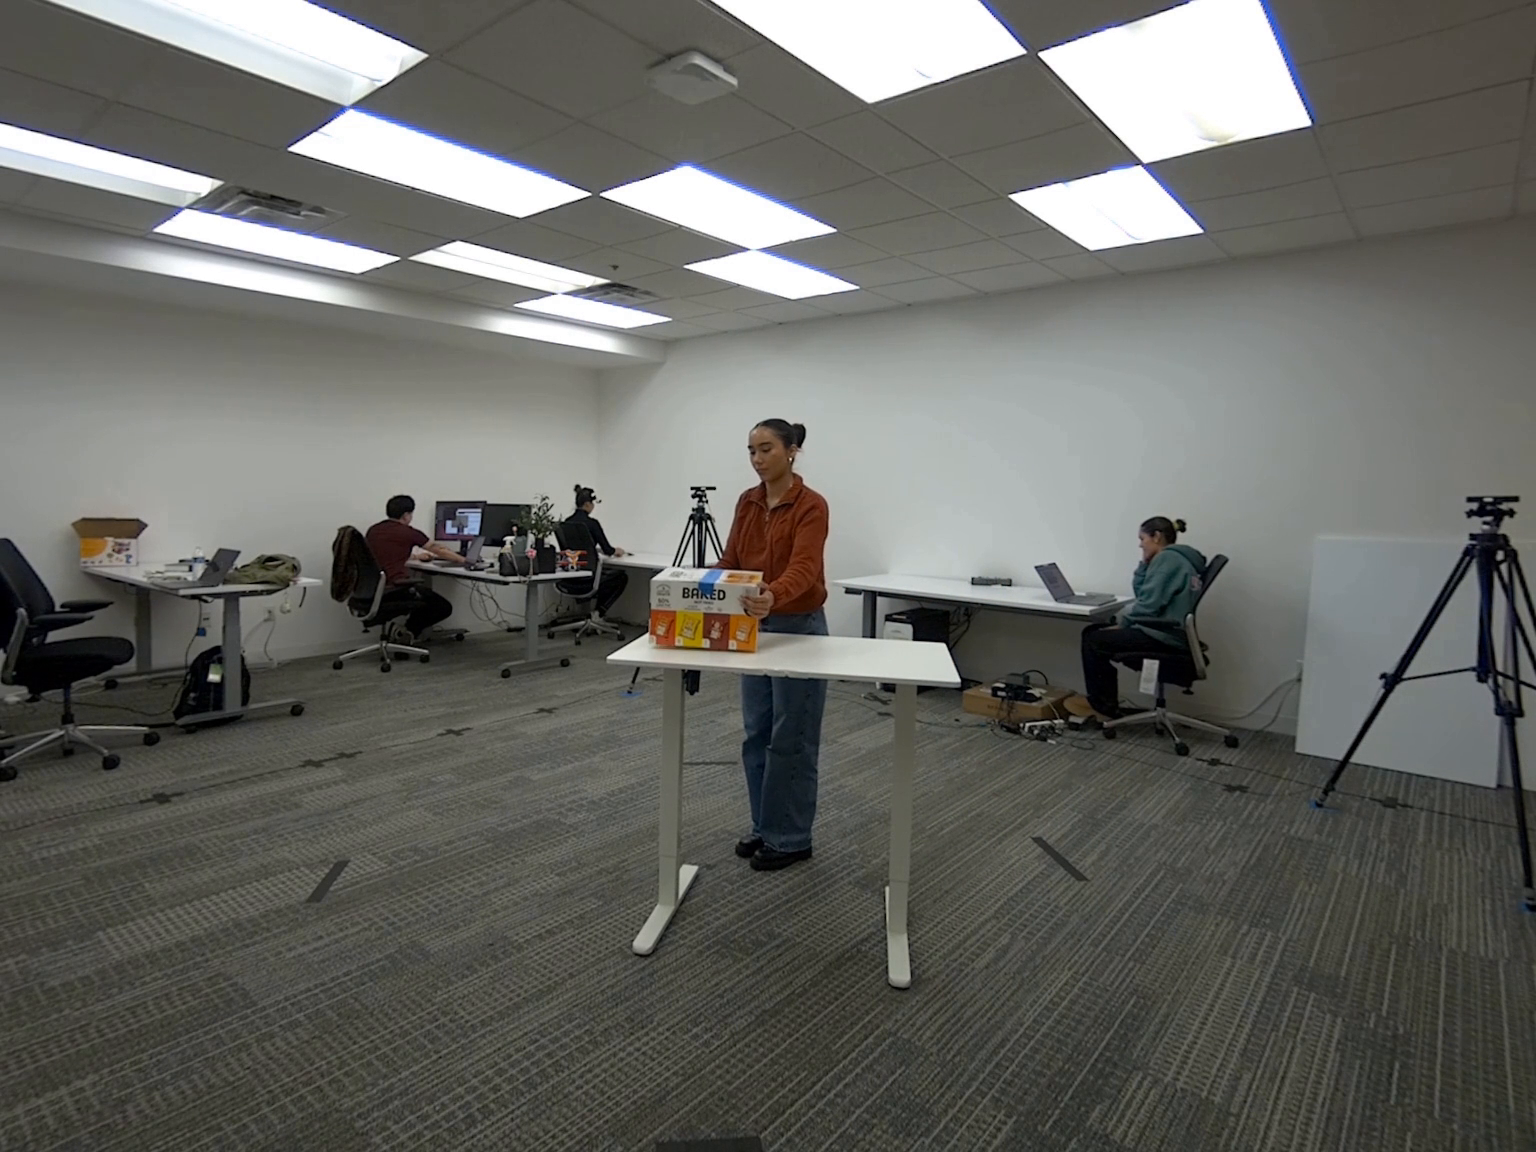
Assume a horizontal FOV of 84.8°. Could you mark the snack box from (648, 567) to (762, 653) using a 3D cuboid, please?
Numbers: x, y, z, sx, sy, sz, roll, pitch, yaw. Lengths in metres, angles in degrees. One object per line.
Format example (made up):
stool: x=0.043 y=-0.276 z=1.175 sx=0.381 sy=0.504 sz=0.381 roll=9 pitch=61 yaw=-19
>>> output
snack box: x=-0.214 y=0.096 z=2.821 sx=0.342 sy=0.205 sz=0.404 roll=4 pitch=5 yaw=3
